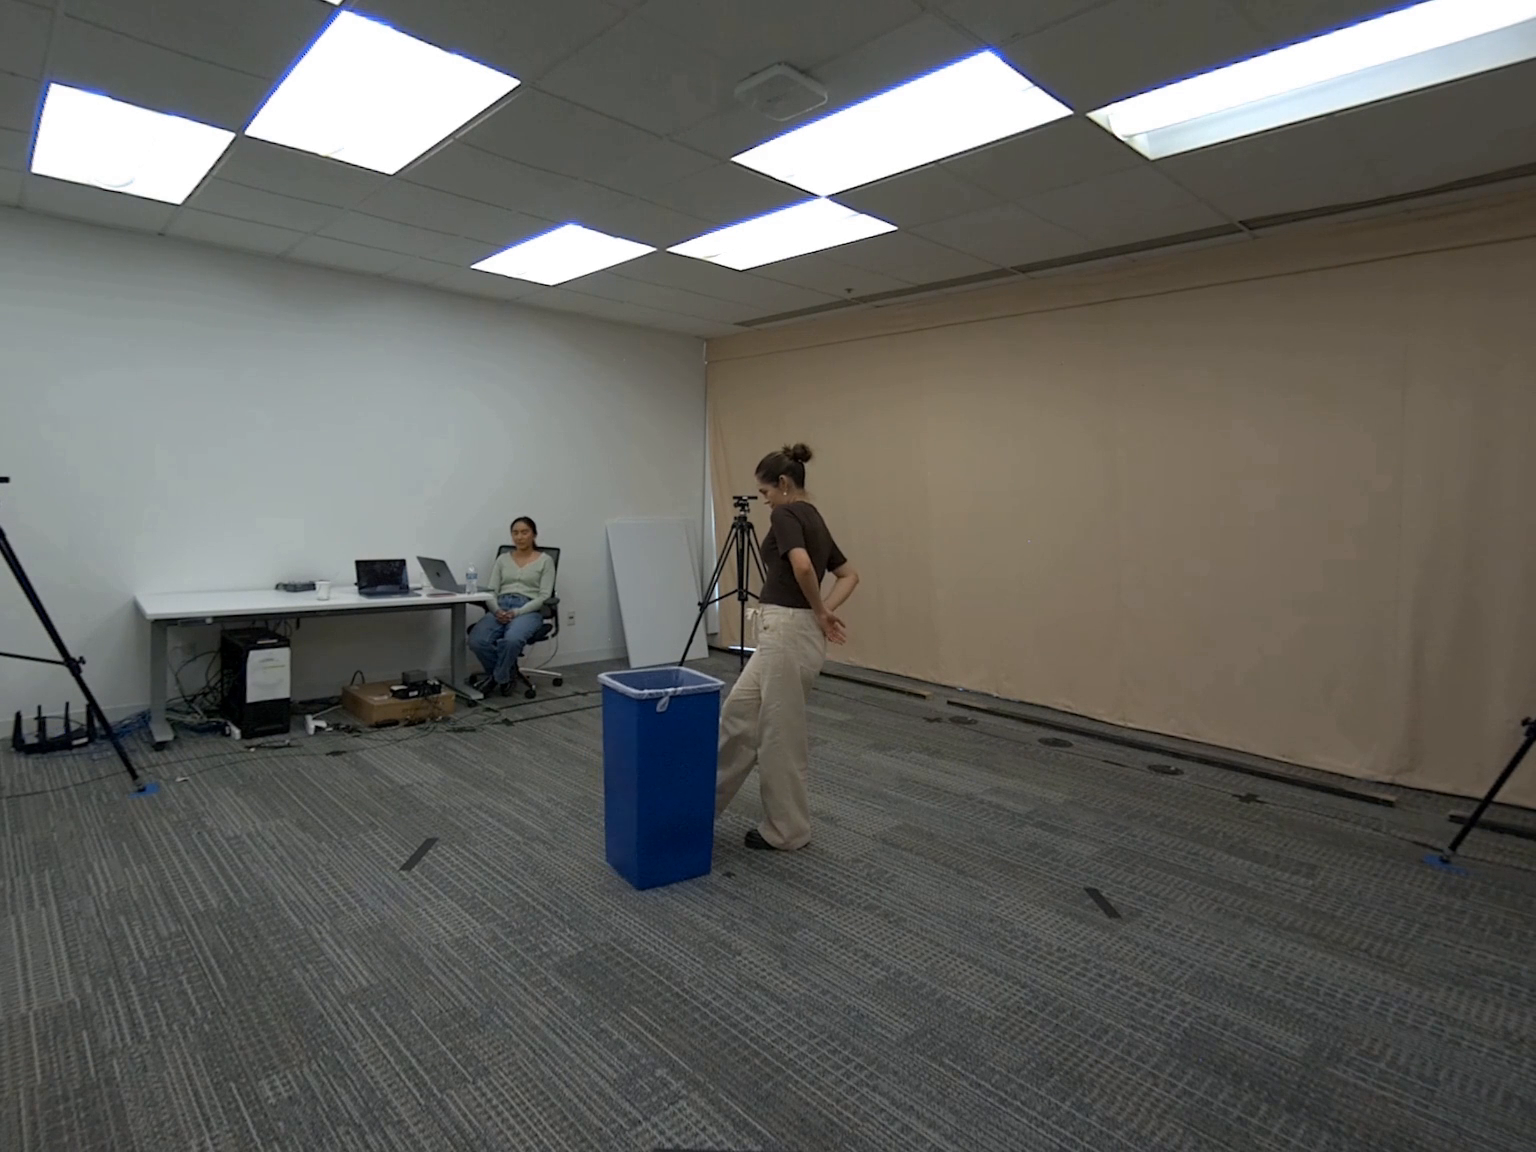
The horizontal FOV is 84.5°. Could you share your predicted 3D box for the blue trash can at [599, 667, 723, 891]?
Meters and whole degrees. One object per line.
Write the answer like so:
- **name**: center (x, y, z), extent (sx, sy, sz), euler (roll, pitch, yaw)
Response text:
- **blue trash can**: center (-0.411, 0.735, 3.142), extent (0.366, 0.712, 0.387), euler (-1, 4, -34)
